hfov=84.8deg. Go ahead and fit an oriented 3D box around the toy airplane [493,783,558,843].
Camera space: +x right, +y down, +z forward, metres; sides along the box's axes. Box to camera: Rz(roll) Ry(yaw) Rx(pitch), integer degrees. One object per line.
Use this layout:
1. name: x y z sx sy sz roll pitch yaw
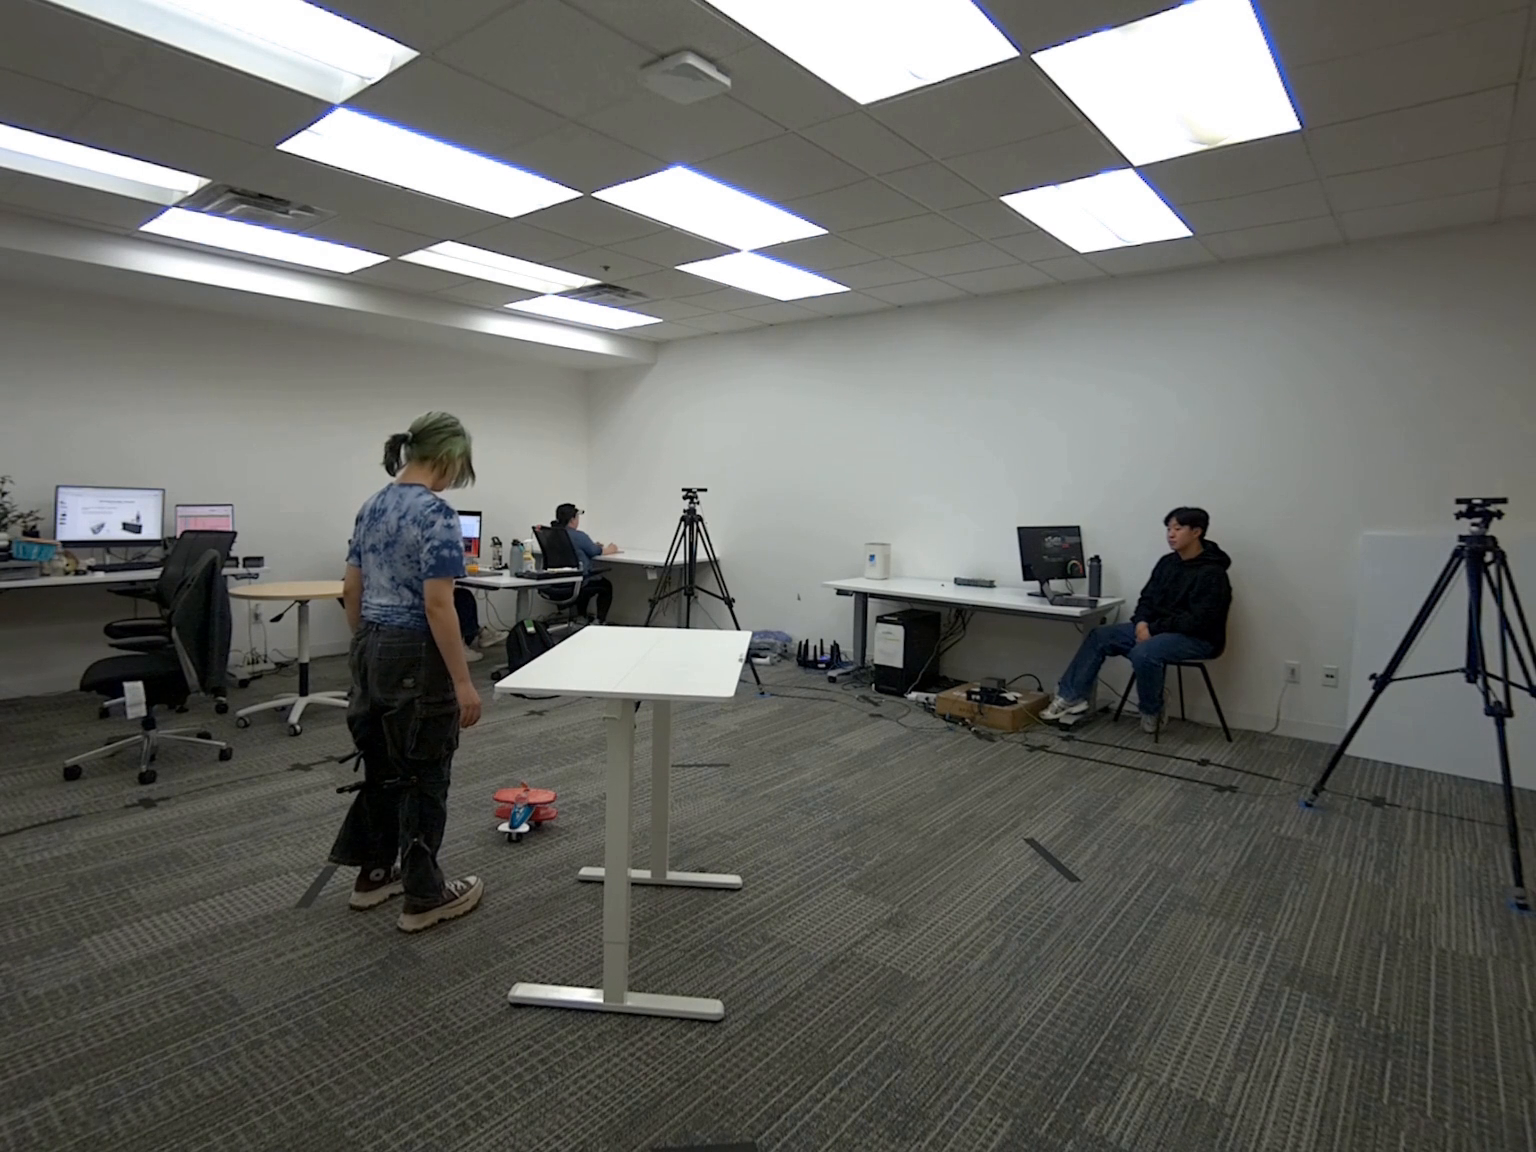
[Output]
1. toy airplane: -0.984 0.954 3.419 0.245 0.156 0.266 -1 4 -25
